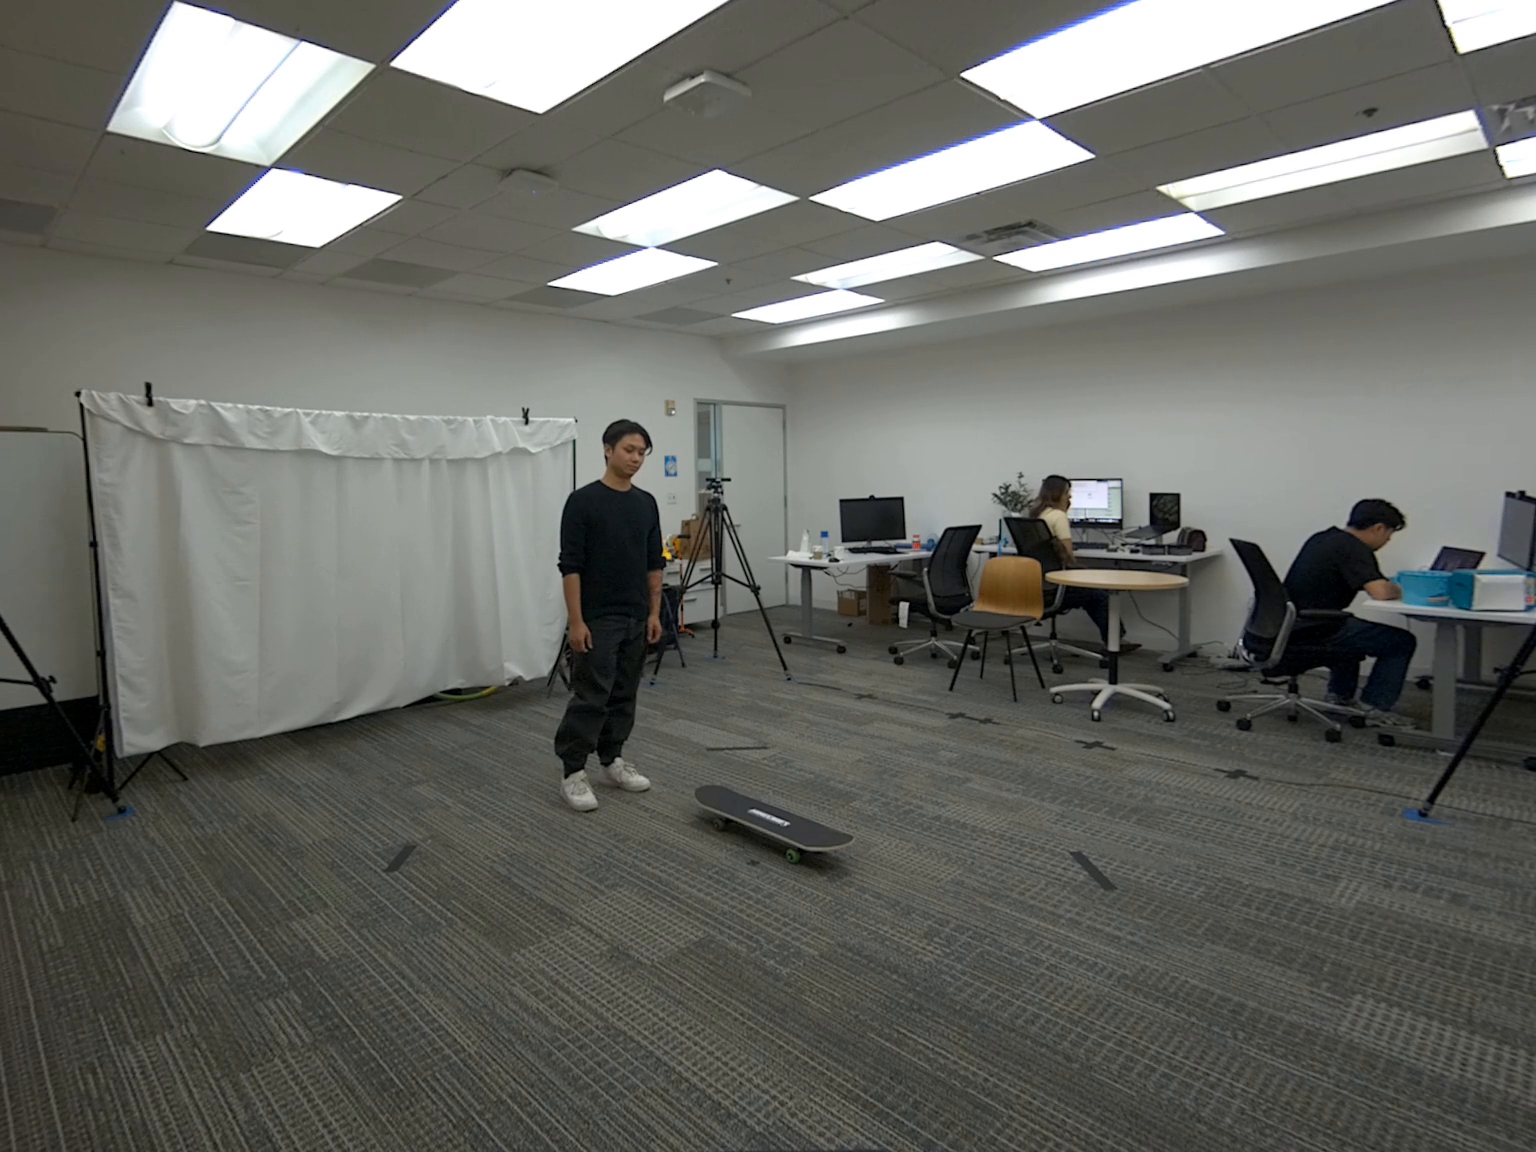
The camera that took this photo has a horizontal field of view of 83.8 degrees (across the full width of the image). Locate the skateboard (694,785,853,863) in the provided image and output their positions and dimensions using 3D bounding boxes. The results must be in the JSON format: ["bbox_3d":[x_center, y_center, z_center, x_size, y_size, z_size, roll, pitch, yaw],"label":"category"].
[{"bbox_3d":[0.007,0.965,3.296,0.188,0.110,0.810,-7,9,-43],"label":"skateboard"}]
